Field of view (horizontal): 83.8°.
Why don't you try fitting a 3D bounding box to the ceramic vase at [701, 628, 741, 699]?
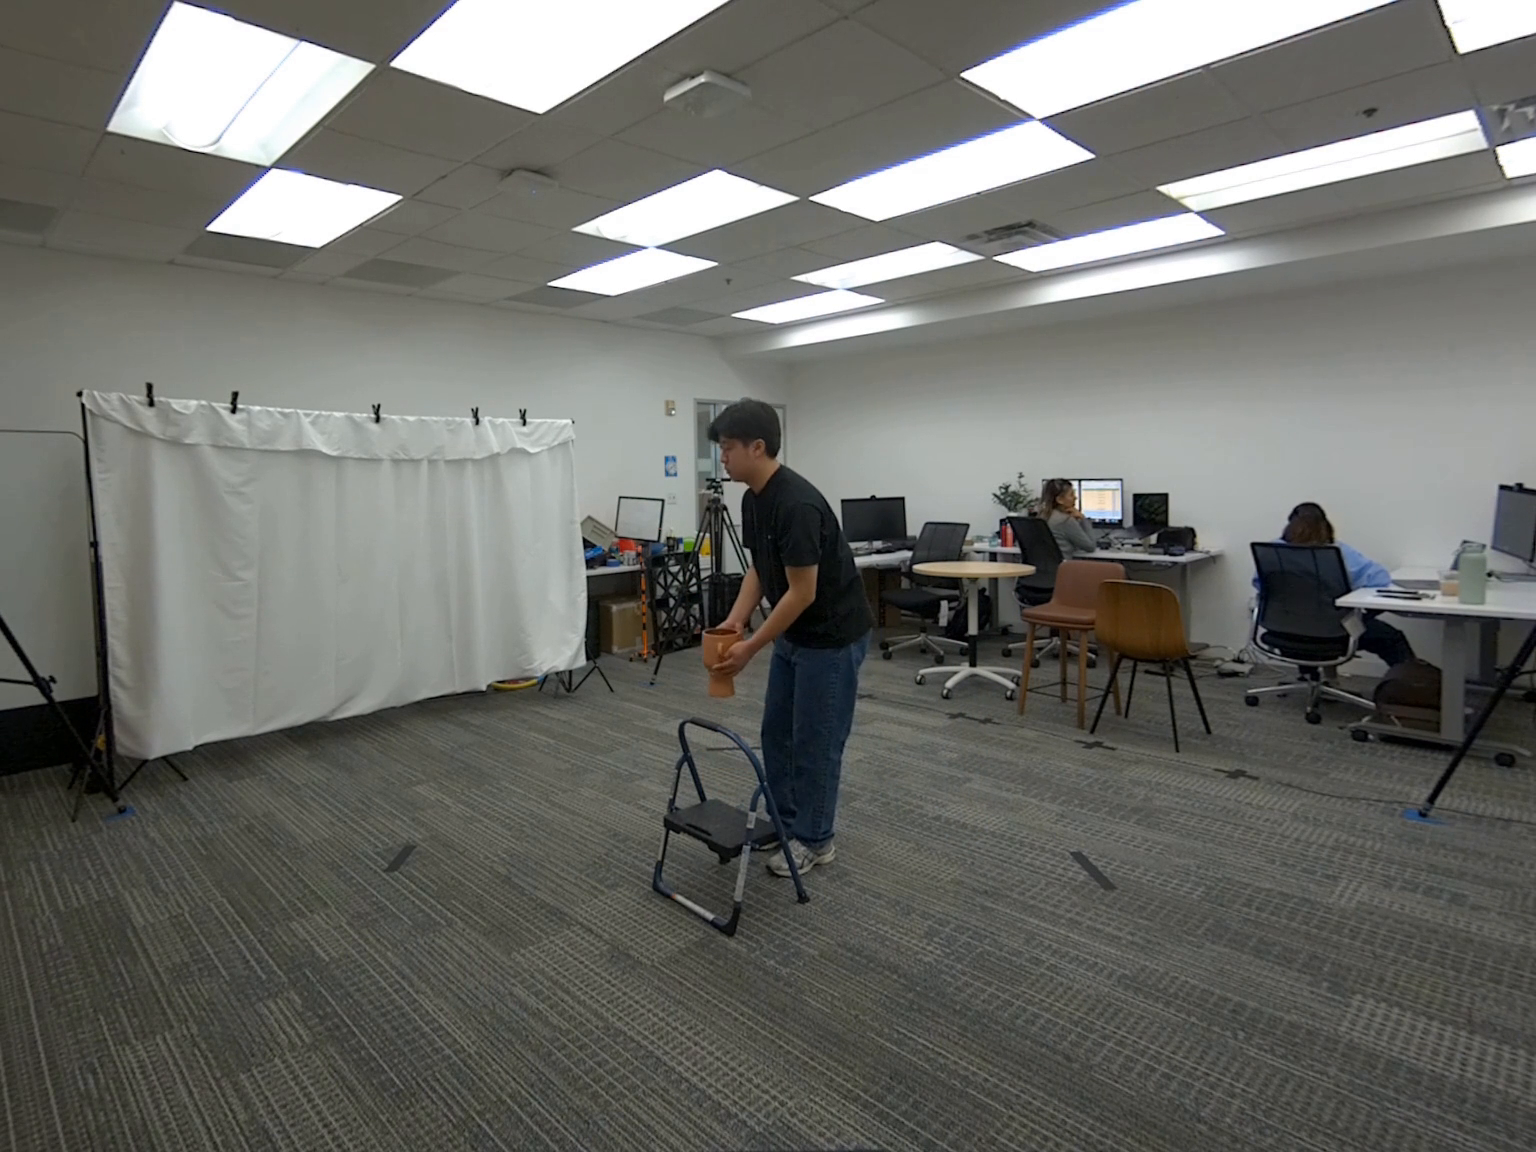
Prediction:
[{"bbox_3d":[-0.156,0.302,2.970,0.138,0.219,0.155,4,7,31],"label":"ceramic vase"}]
